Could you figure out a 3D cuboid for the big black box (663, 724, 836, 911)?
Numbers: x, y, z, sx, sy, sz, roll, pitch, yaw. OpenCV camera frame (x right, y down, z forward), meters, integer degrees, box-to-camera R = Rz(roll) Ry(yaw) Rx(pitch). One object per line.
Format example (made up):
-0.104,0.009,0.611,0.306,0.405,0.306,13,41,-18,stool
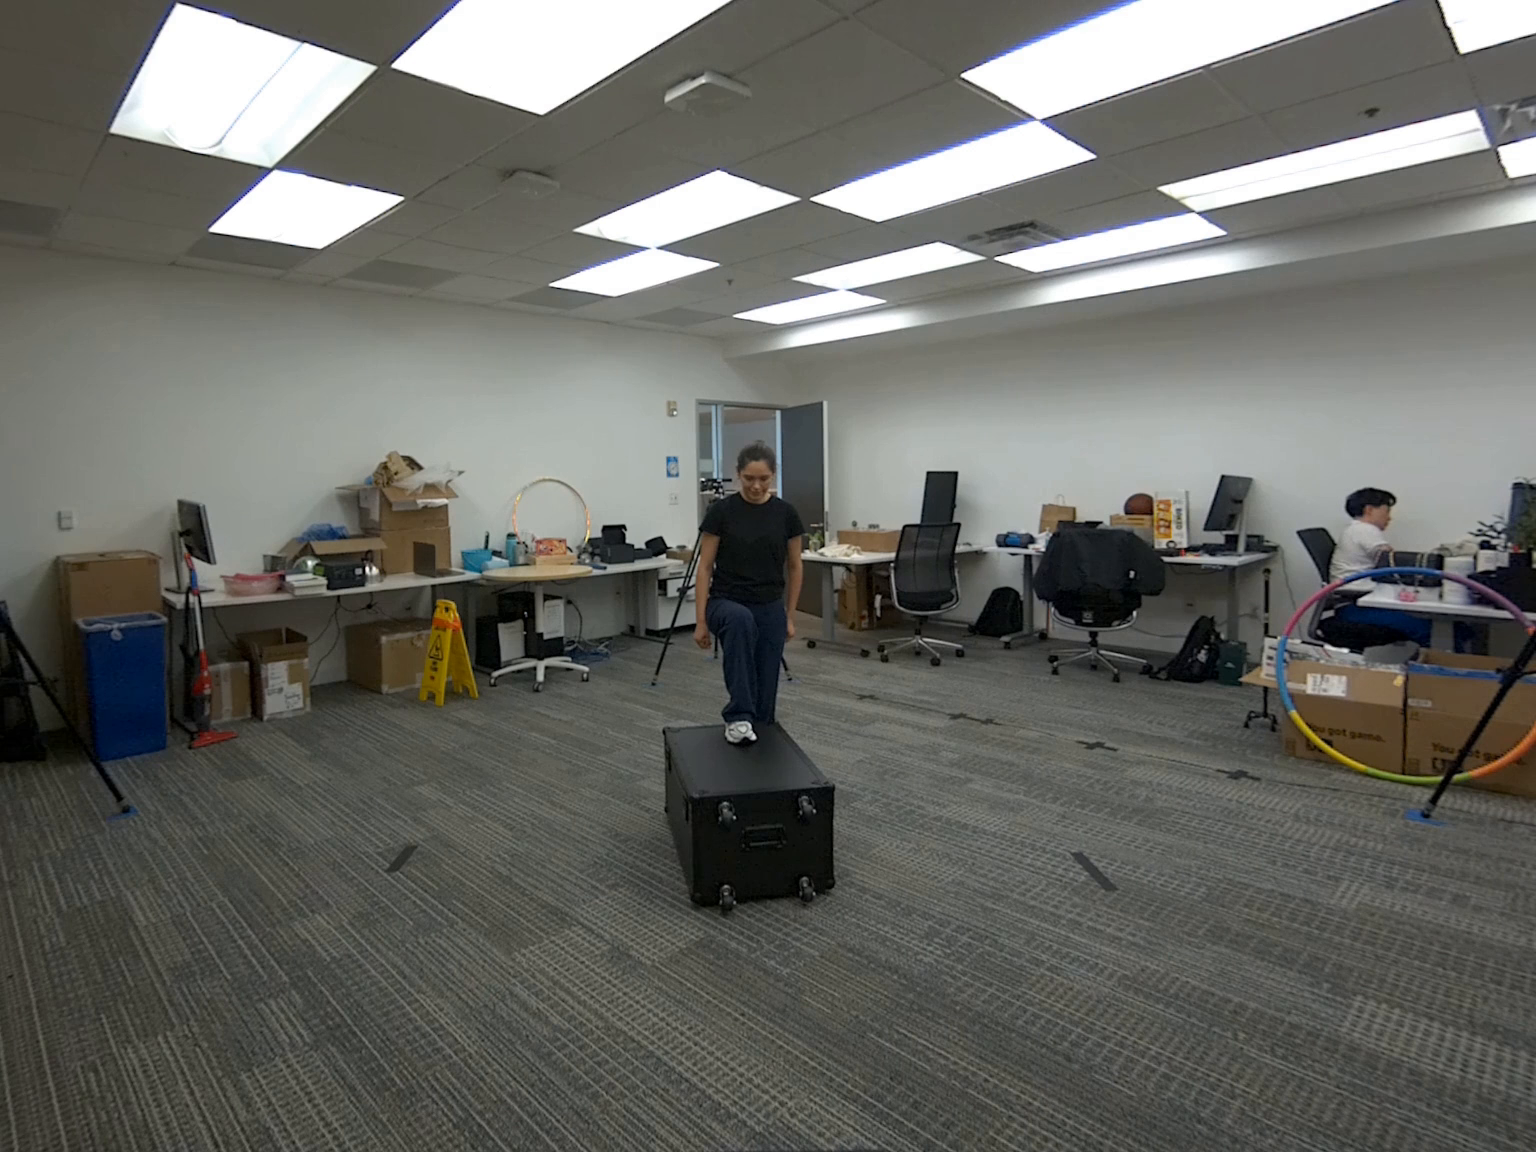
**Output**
-0.099,0.845,3.164,0.515,0.394,0.875,-3,6,-13,big black box
